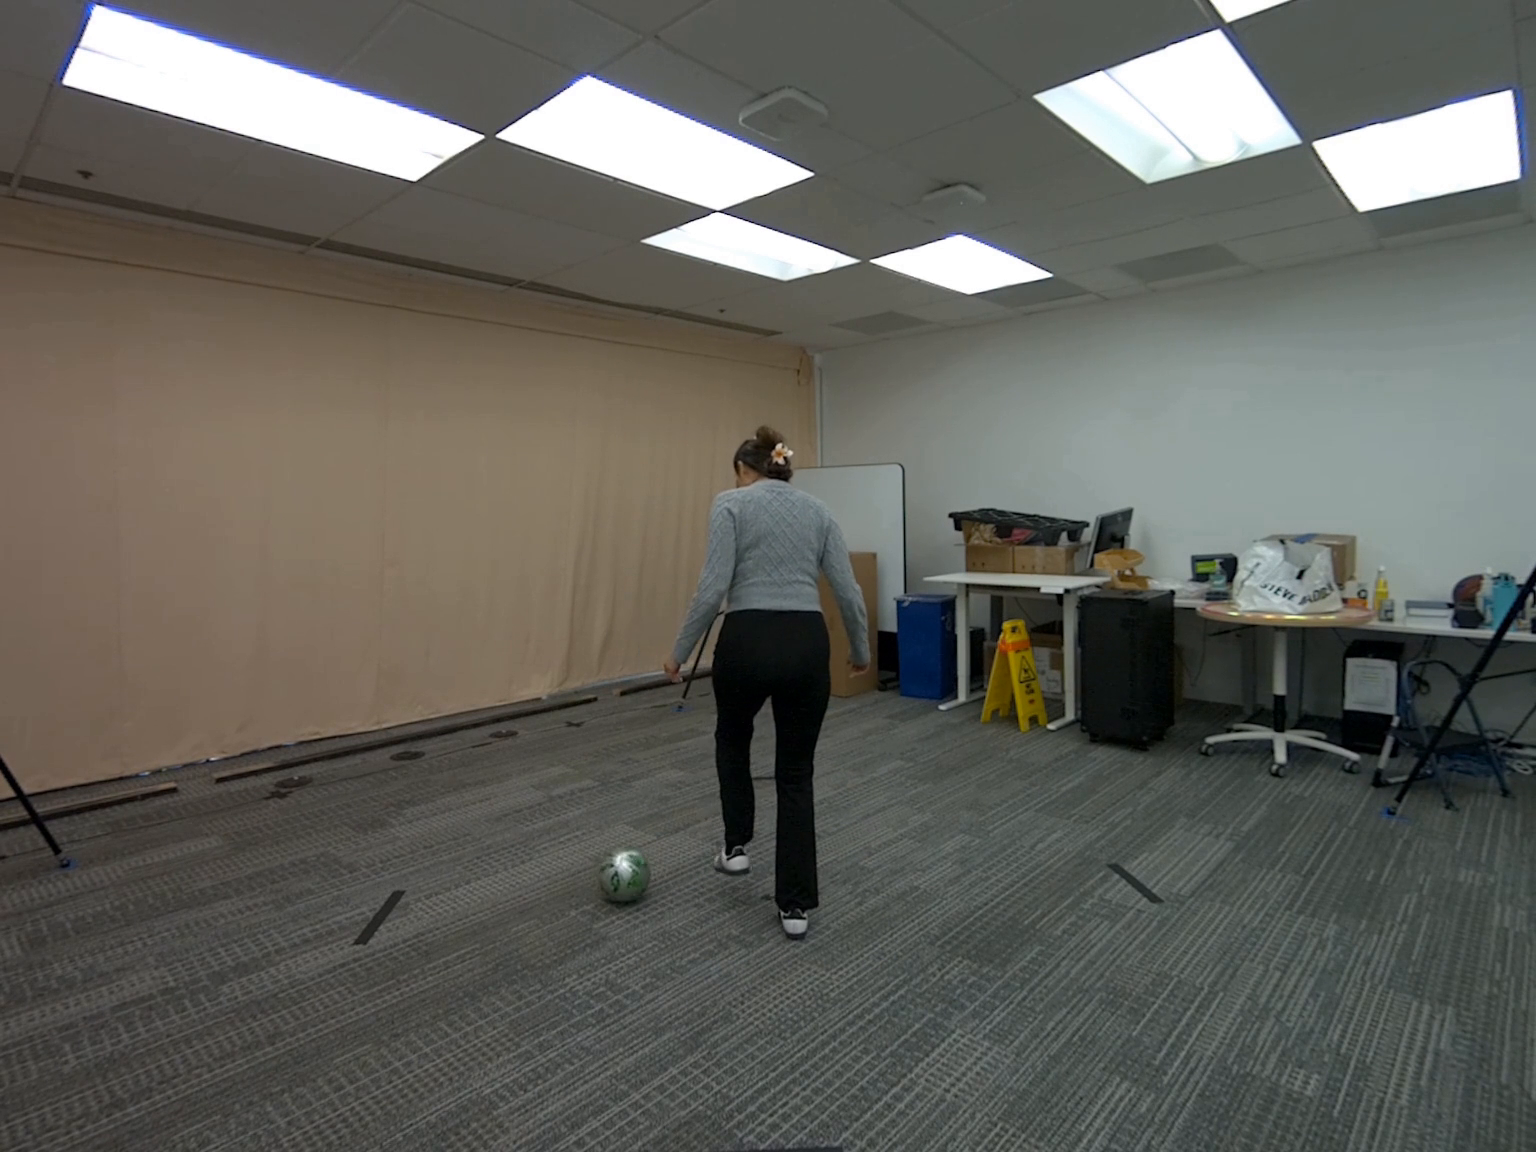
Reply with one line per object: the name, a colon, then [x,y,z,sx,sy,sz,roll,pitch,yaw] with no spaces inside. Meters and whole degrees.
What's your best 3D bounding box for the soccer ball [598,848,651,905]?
soccer ball: [-0.505,1.065,2.987,0.187,0.187,0.188,-1,4,-2]
